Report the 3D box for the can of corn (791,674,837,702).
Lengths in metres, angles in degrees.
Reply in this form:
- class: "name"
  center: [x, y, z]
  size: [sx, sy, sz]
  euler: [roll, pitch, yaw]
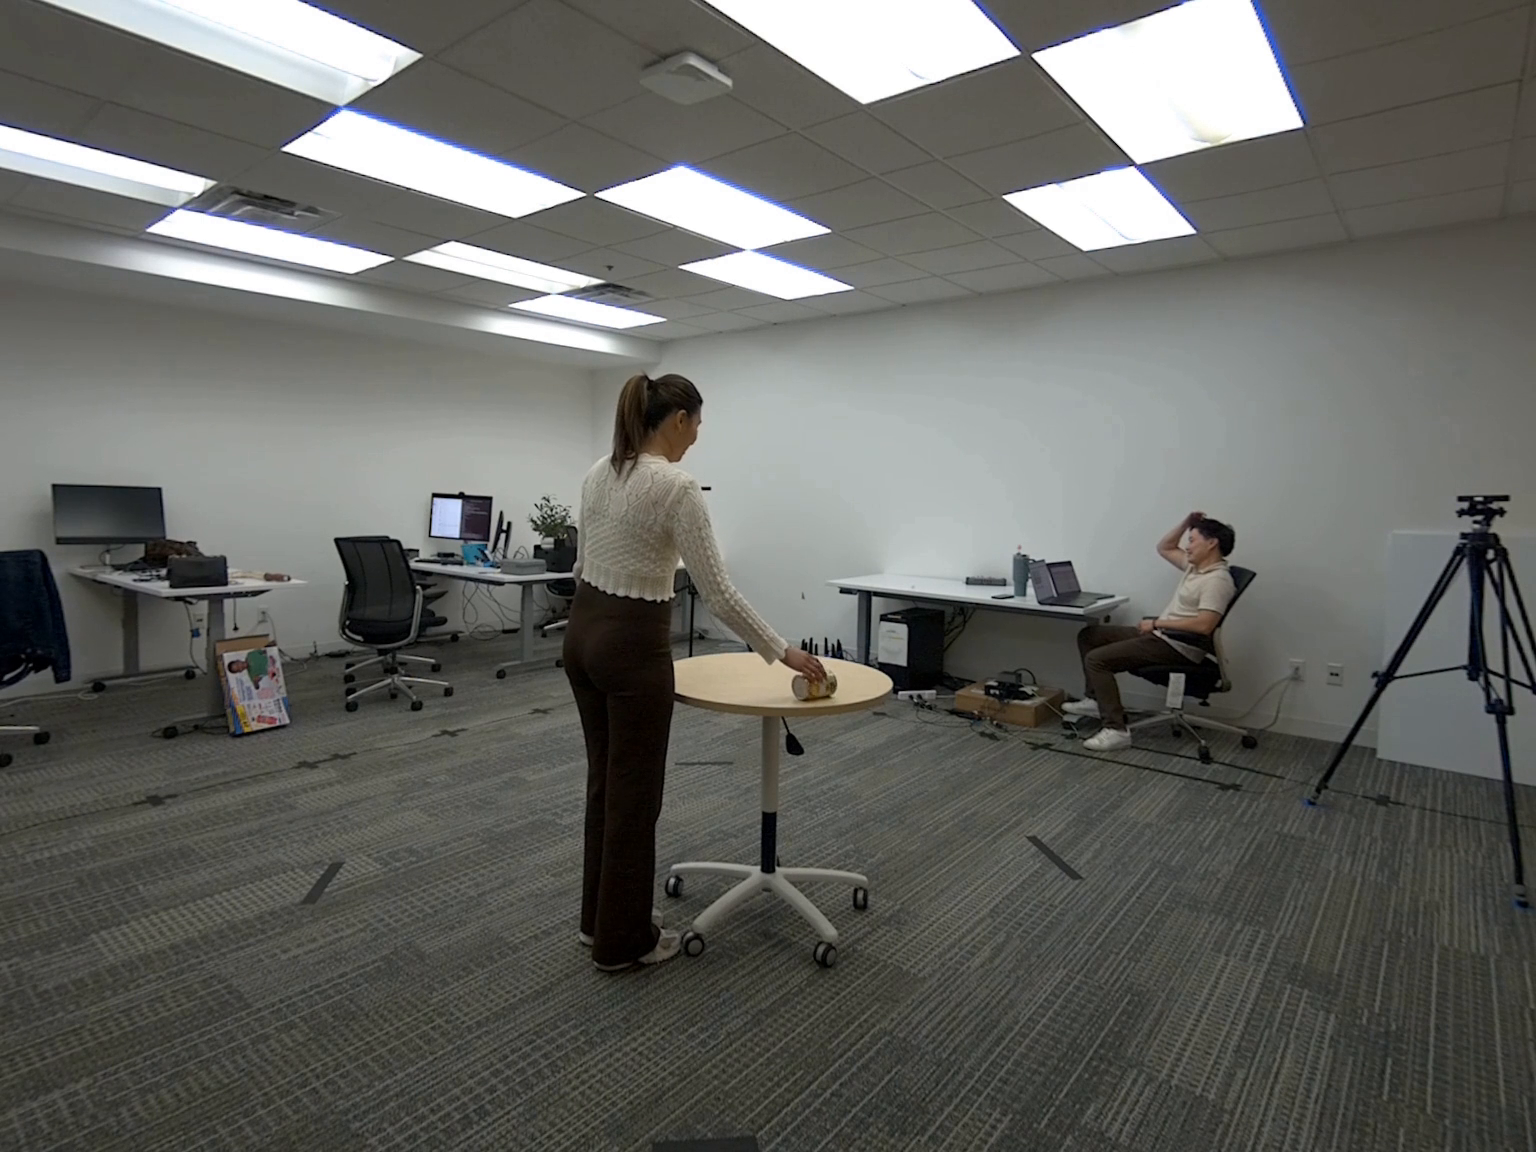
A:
- class: "can of corn"
  center: [0.126, 0.317, 2.482]
  size: [0.109, 0.074, 0.076]
  euler: [-3, 5, -20]
